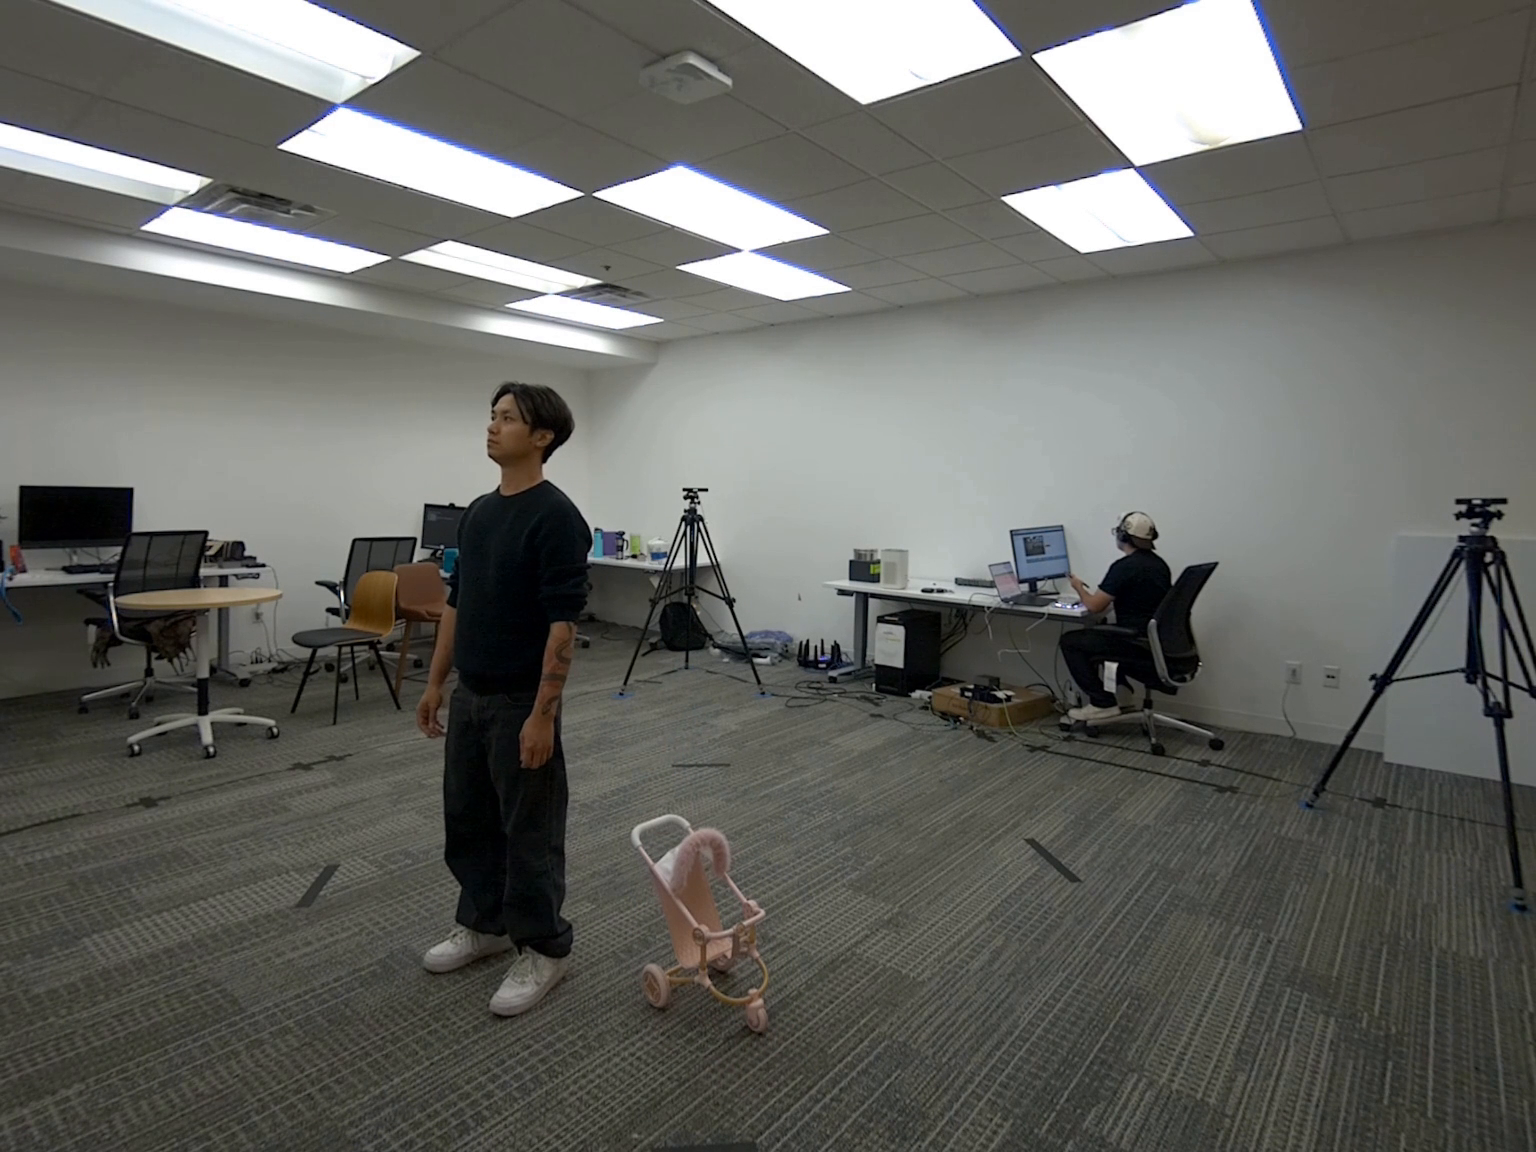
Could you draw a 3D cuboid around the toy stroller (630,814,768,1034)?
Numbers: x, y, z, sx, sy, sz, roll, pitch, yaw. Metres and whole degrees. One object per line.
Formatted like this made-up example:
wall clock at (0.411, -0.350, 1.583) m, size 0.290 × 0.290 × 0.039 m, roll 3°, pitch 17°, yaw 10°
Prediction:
toy stroller at (-0.178, 0.928, 2.305) m, size 0.273 × 0.541 × 0.348 m, roll -3°, pitch -12°, yaw -43°
